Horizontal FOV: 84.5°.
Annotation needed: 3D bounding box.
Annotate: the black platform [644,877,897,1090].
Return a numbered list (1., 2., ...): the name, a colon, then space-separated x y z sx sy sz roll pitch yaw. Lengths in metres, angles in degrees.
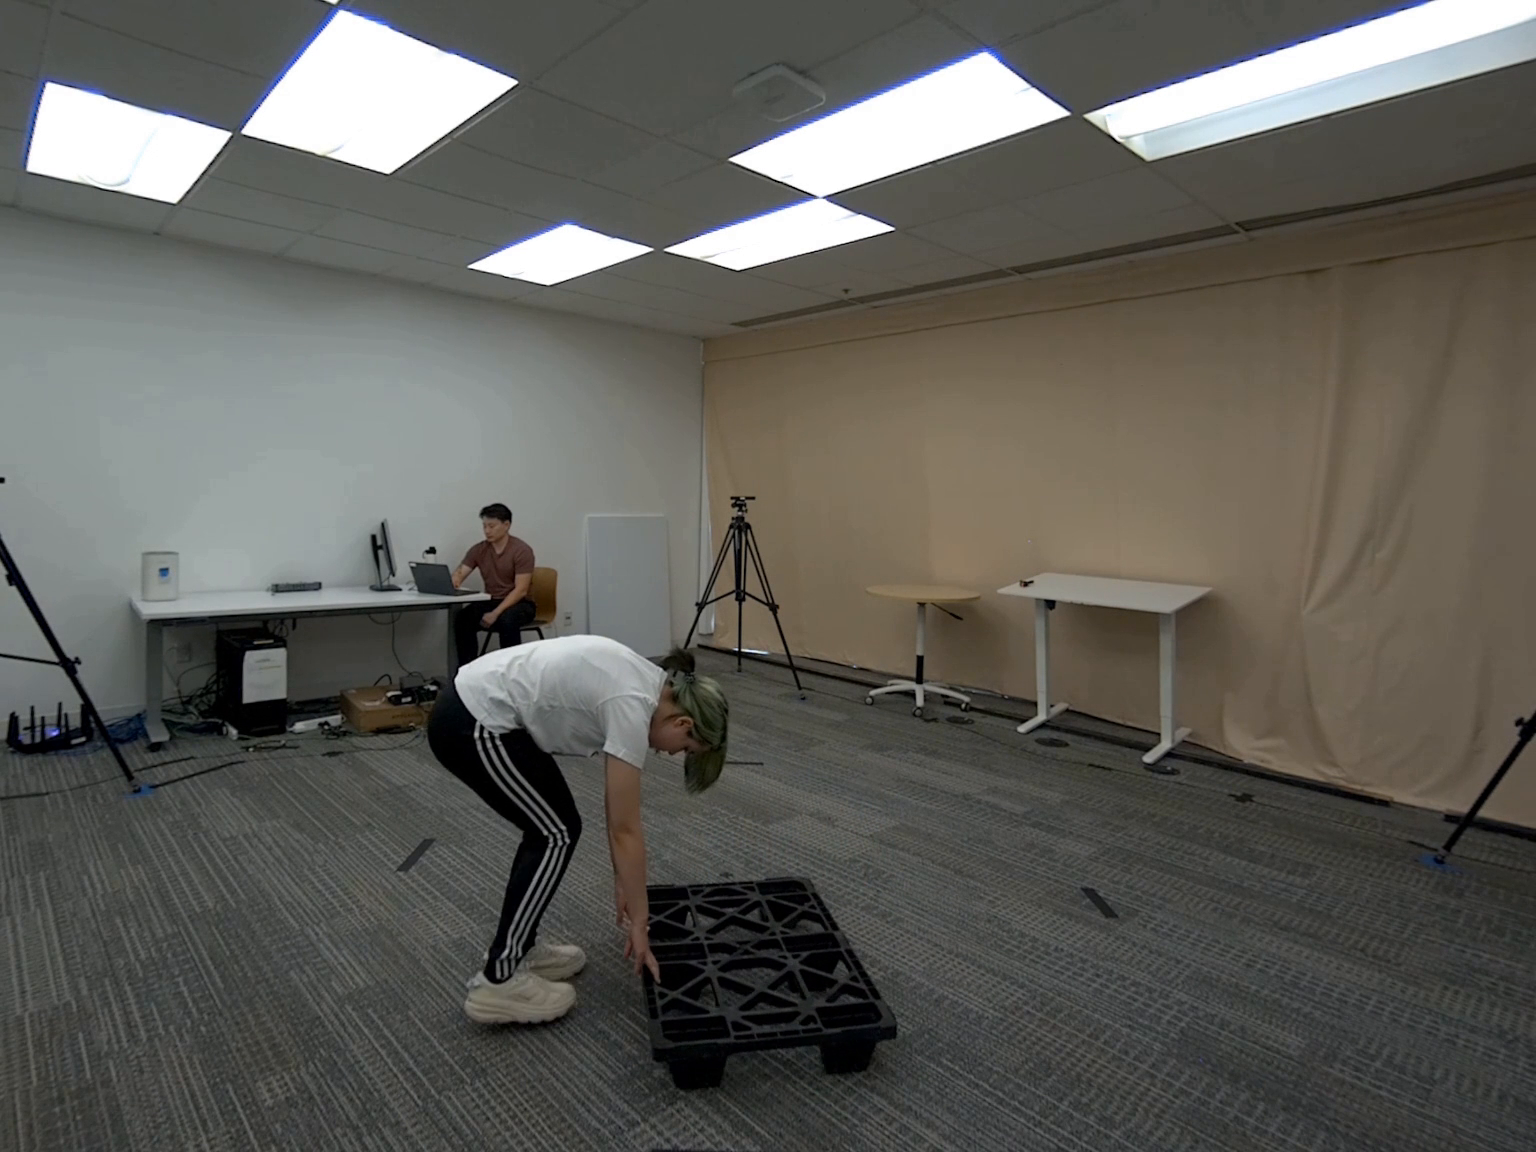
1. black platform: -0.070 1.109 2.361 0.599 0.143 0.816 0 6 -13
